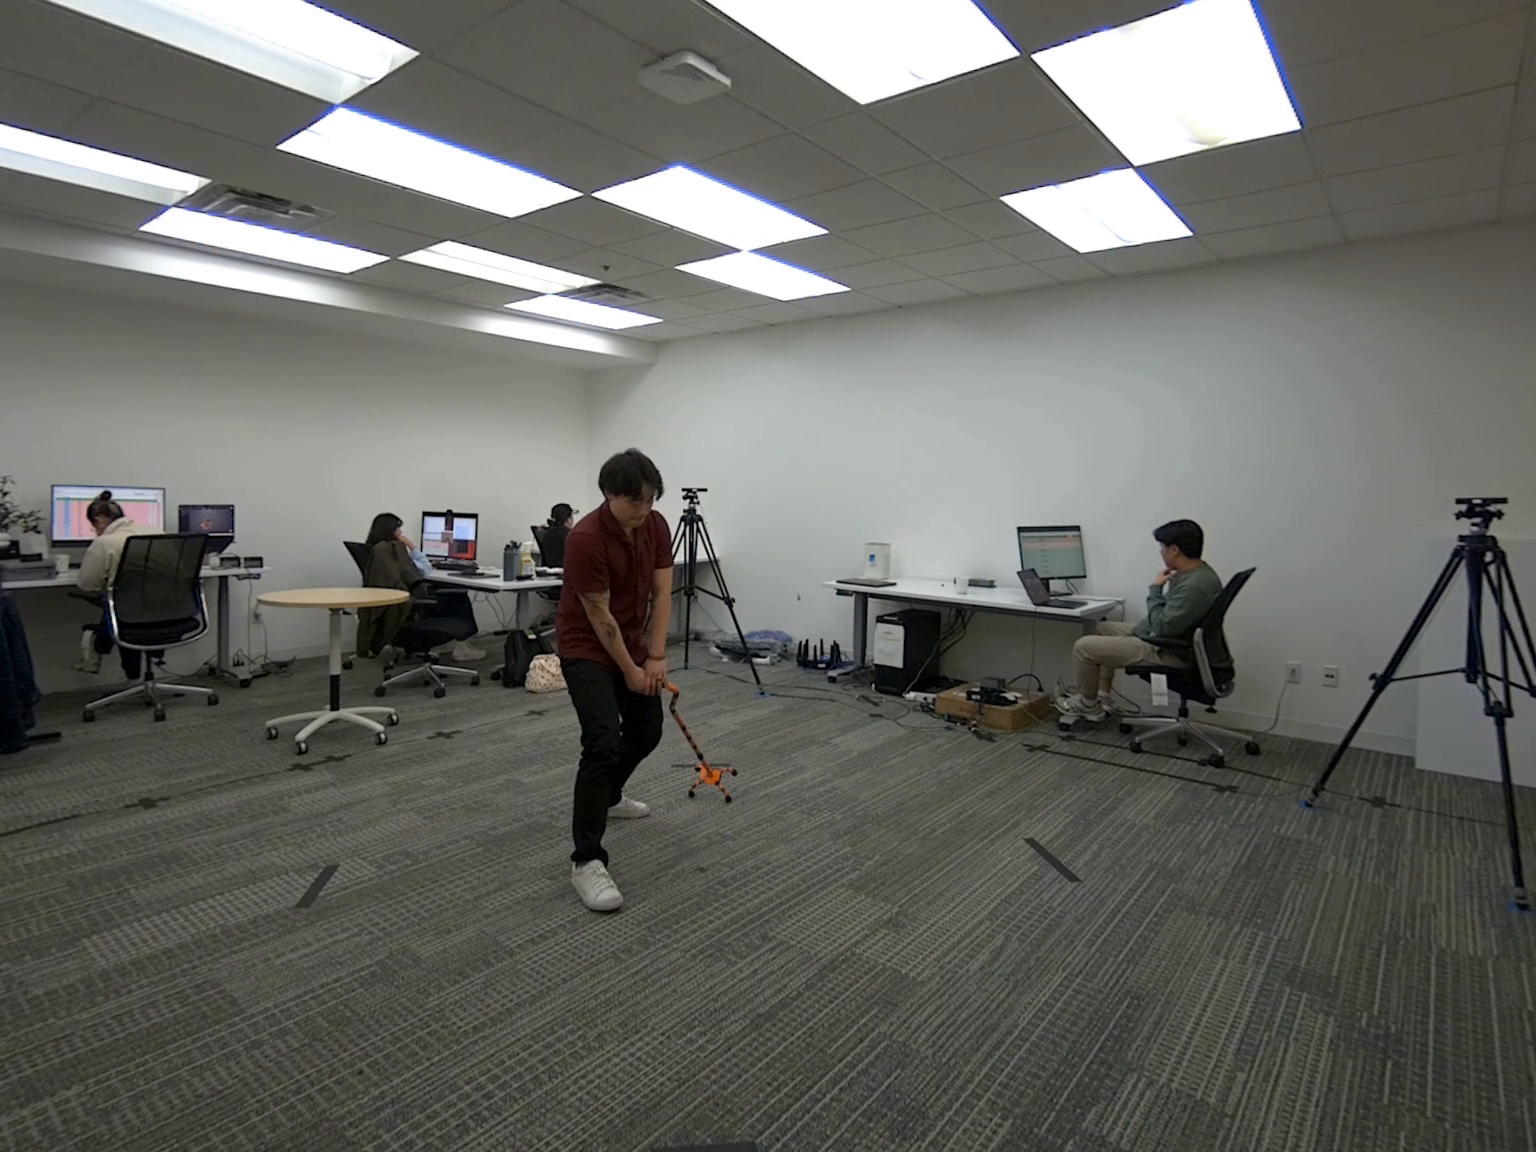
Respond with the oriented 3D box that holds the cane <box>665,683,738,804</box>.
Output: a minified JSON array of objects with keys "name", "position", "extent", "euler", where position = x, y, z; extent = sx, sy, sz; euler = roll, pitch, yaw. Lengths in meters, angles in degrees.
[{"name":"cane","position":[-0.342,0.680,3.528],"extent":[0.210,0.154,0.875],"euler":[3,-36,16]}]
